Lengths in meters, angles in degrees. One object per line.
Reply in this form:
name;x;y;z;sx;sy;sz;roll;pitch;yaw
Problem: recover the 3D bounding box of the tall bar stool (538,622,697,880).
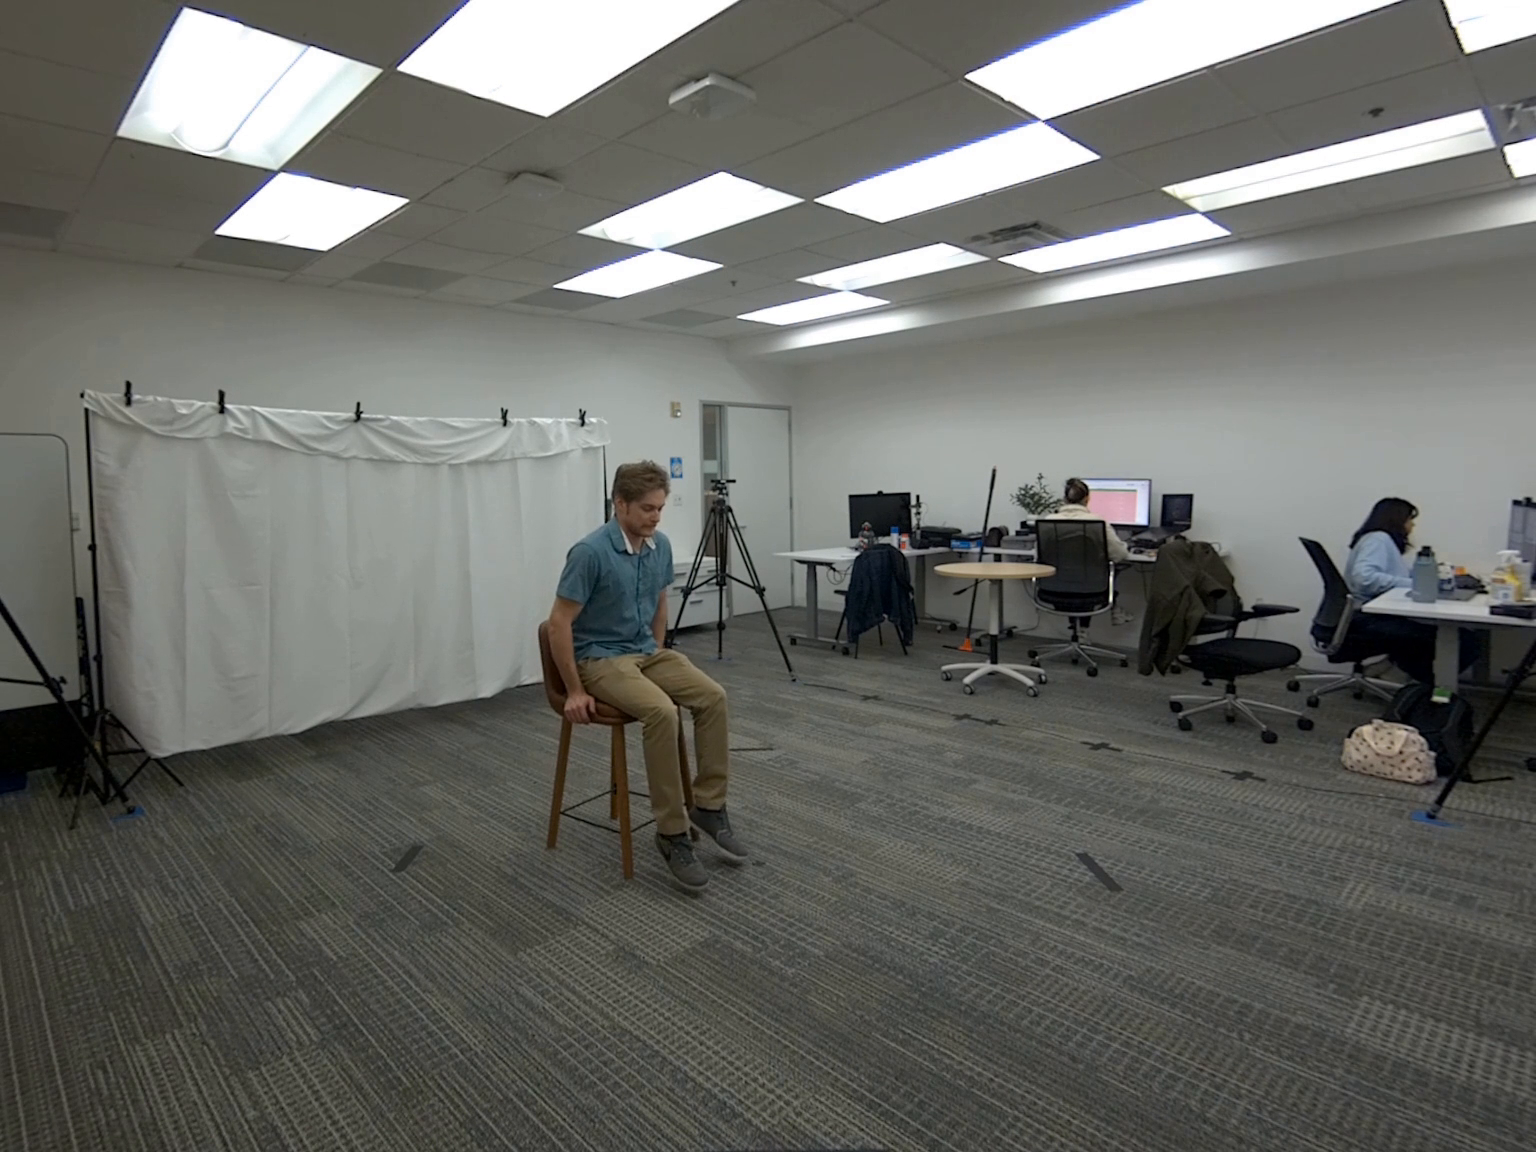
tall bar stool;-0.577;0.605;3.288;0.480;0.889;0.445;-2;1;36
